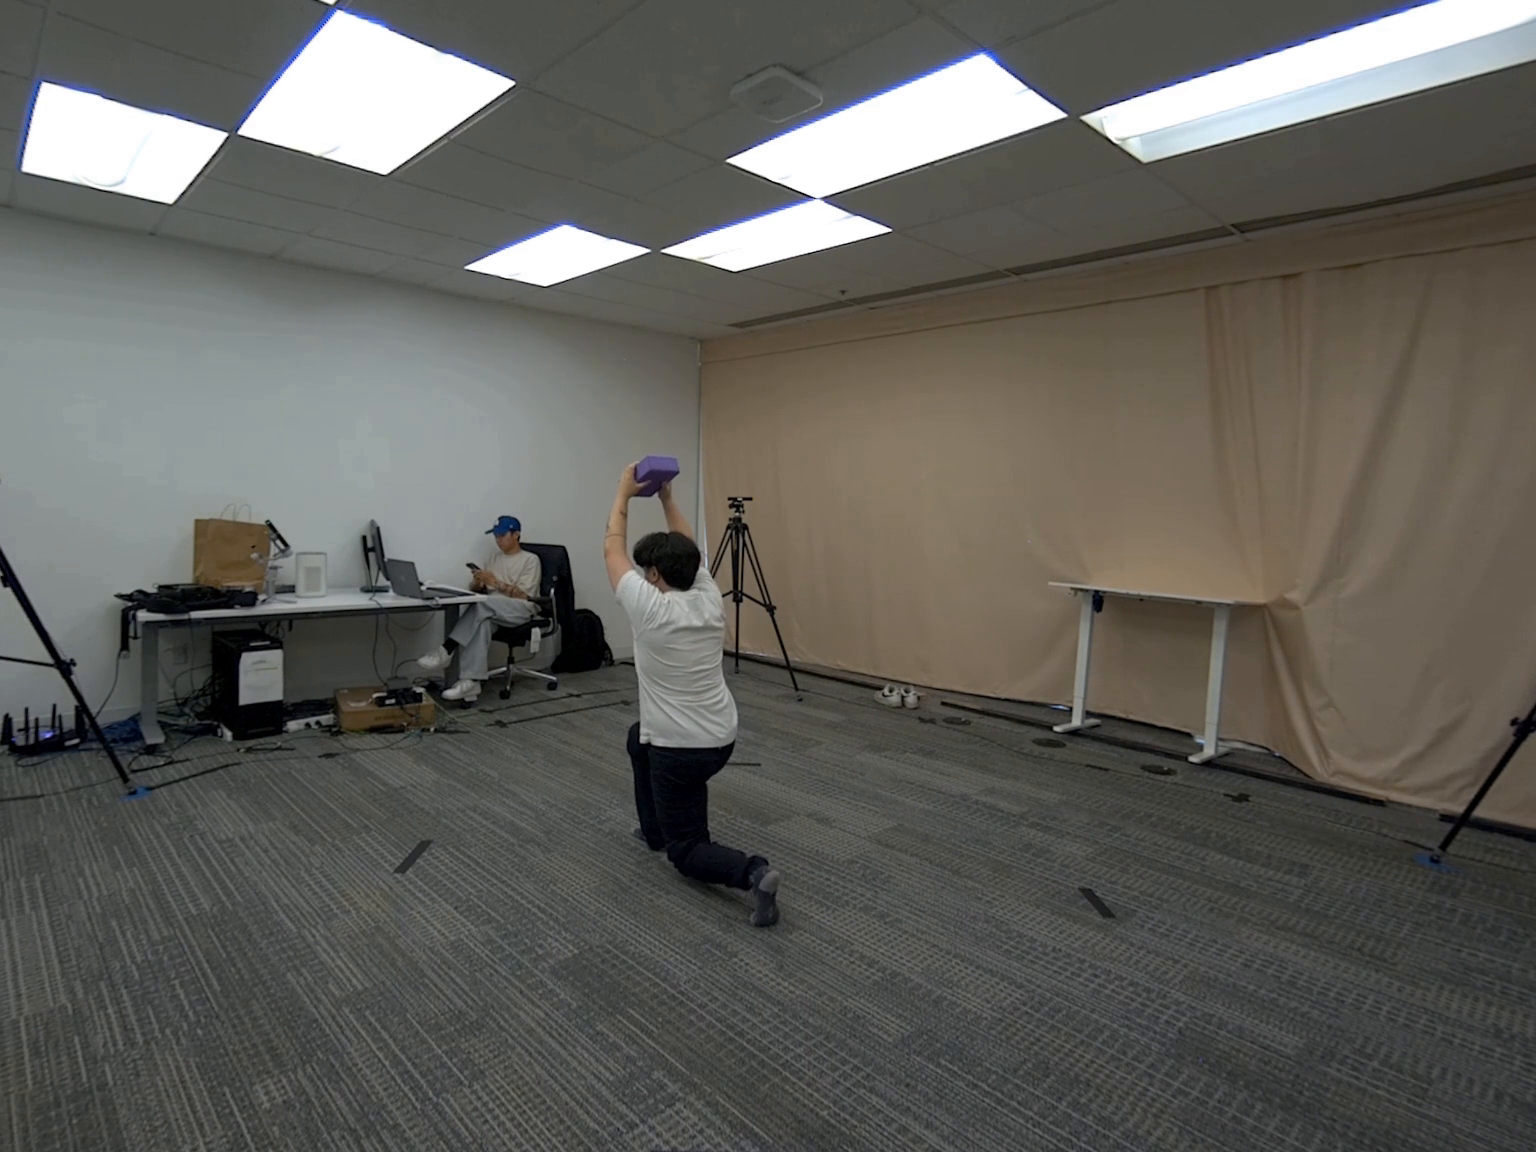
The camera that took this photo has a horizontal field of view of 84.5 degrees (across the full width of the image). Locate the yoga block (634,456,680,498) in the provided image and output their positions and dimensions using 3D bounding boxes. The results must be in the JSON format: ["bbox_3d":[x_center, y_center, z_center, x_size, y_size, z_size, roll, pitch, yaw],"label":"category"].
[{"bbox_3d":[-0.485,-0.405,3.383,0.145,0.077,0.231,-2,-21,-42],"label":"yoga block"}]
